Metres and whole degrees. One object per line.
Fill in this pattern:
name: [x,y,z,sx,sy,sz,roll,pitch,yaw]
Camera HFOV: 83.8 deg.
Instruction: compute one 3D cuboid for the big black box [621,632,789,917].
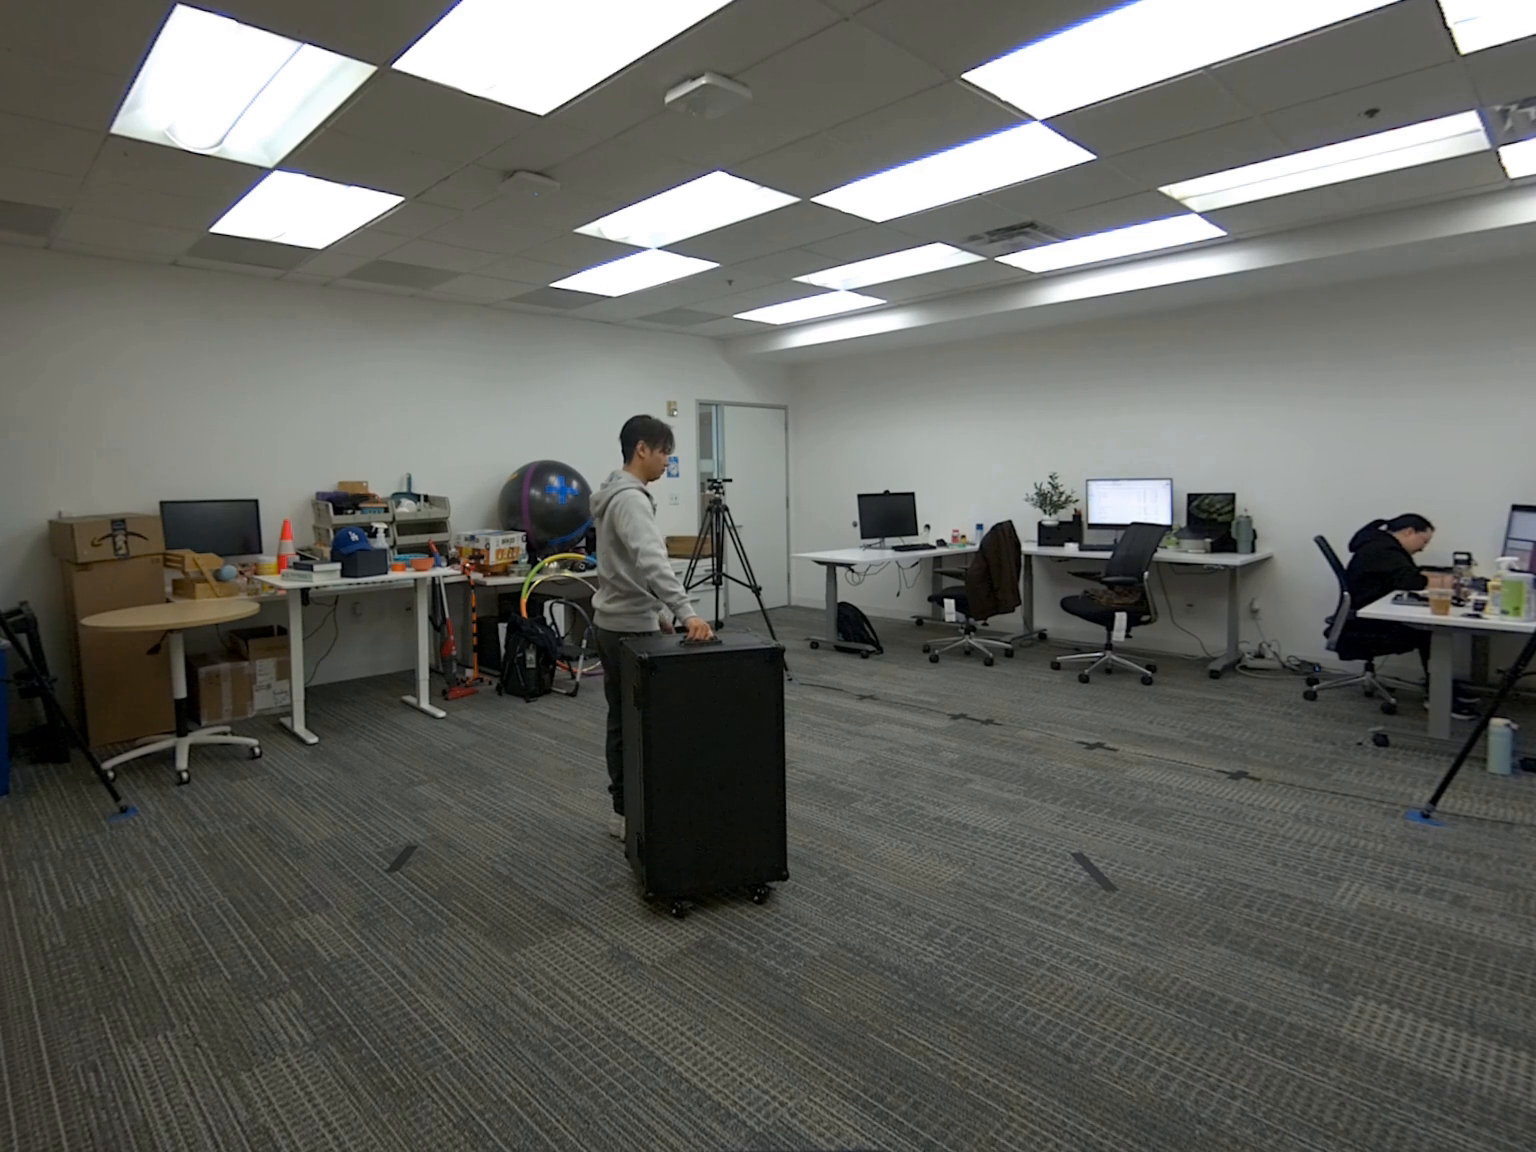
big black box: [-0.229,0.644,2.905,0.513,0.859,0.404,-3,3,-19]
